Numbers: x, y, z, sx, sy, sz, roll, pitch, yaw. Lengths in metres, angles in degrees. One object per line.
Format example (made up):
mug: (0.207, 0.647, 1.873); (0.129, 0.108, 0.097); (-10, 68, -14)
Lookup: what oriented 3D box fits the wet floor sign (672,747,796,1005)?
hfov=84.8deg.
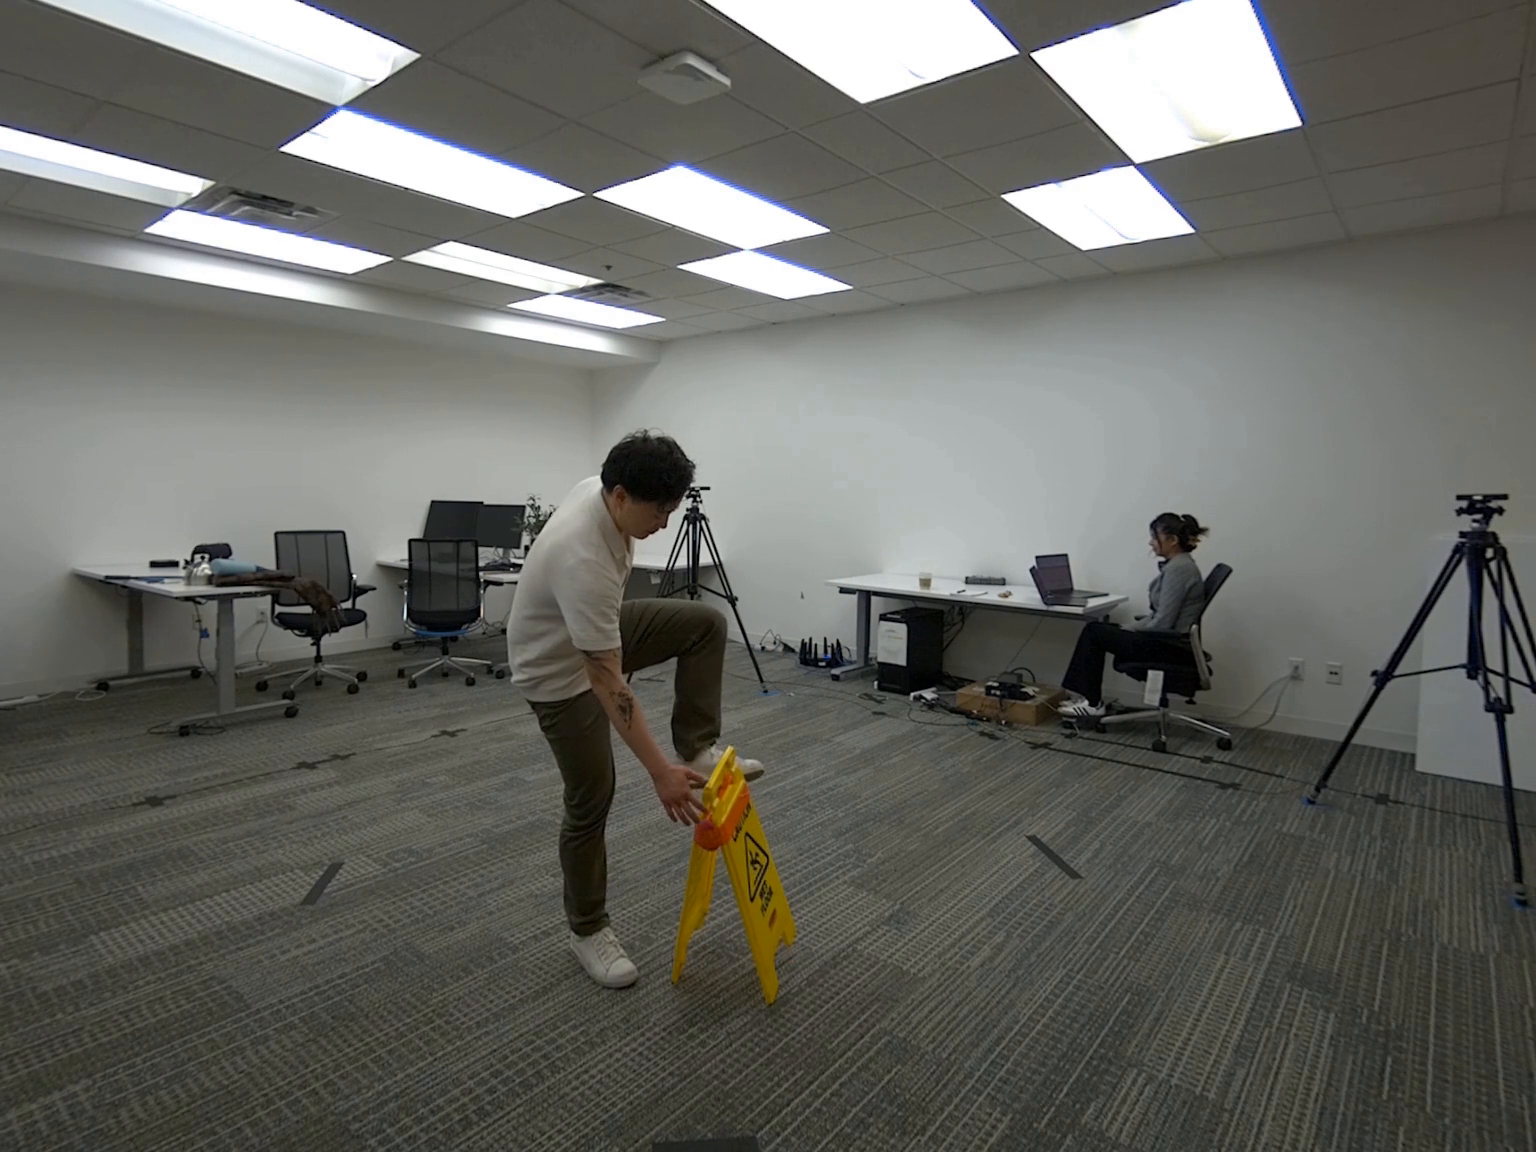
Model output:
wet floor sign: (-0.116, 0.800, 2.359); (0.295, 0.634, 0.282); (3, 20, 17)
